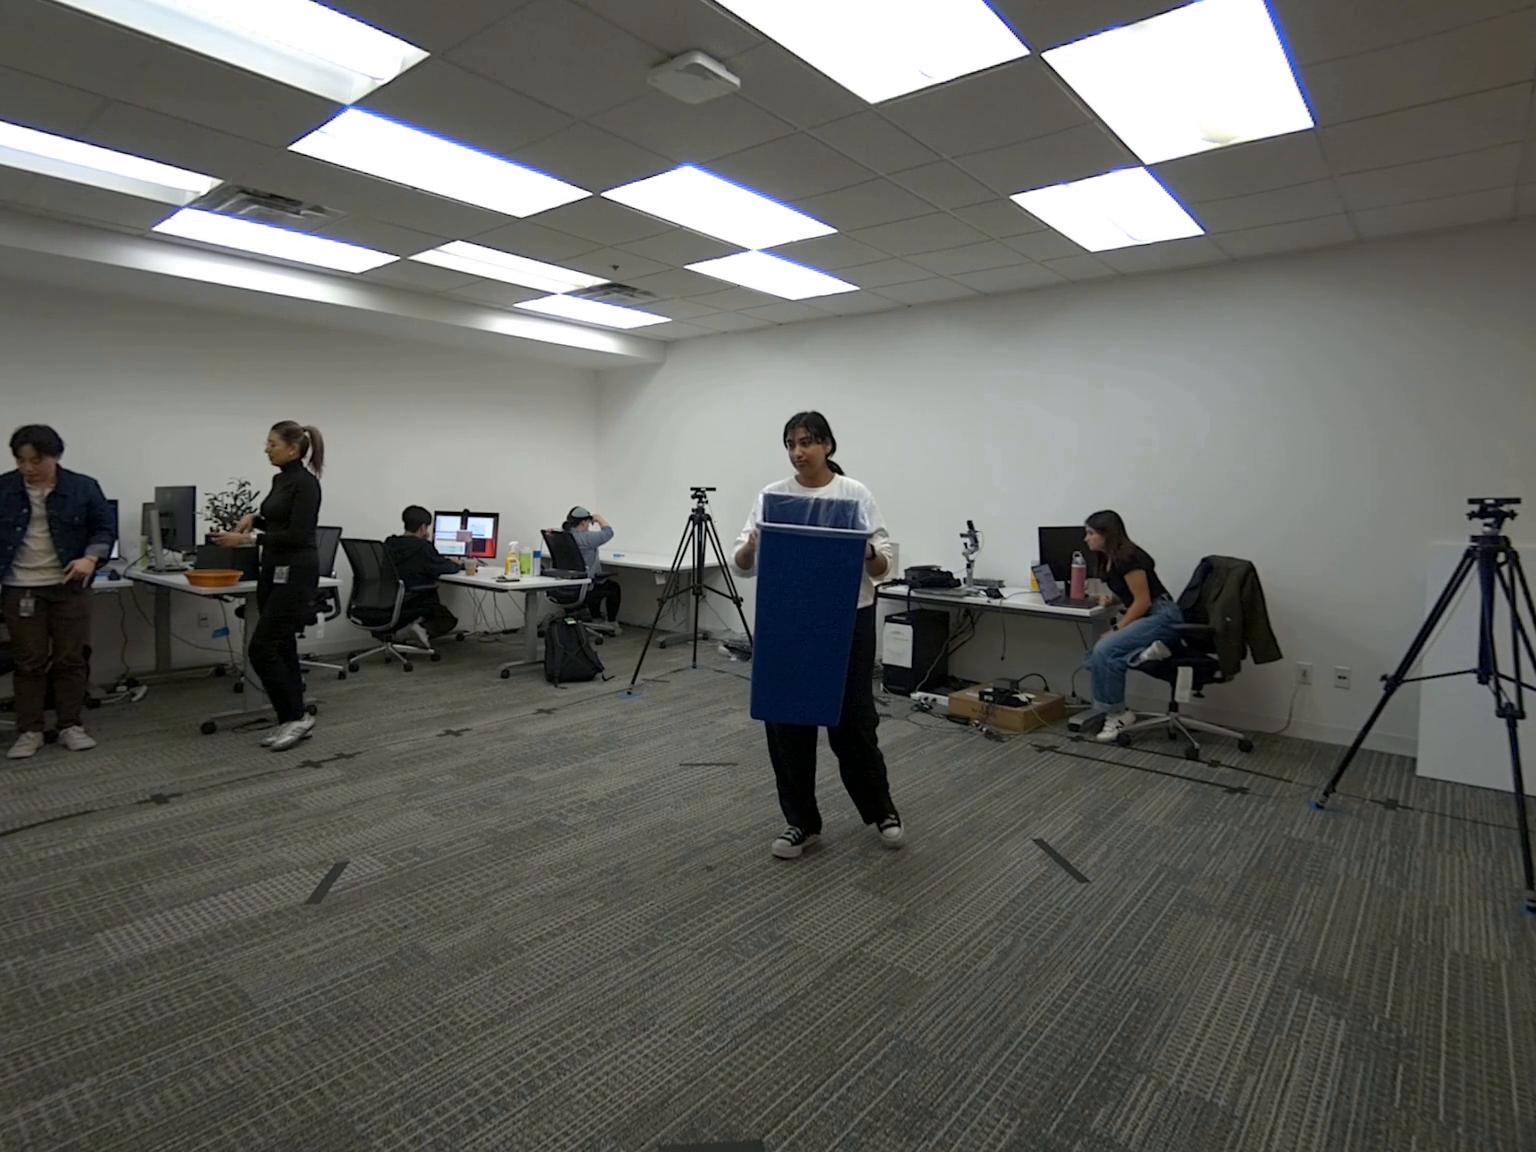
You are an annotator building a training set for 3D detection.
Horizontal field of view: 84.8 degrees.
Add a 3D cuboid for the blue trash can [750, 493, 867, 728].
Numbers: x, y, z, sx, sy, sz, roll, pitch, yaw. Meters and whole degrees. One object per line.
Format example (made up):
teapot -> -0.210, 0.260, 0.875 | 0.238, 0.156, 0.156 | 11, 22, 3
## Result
blue trash can -> 0.115, 0.109, 2.902 | 0.380, 0.702, 0.379 | 5, 19, 3
